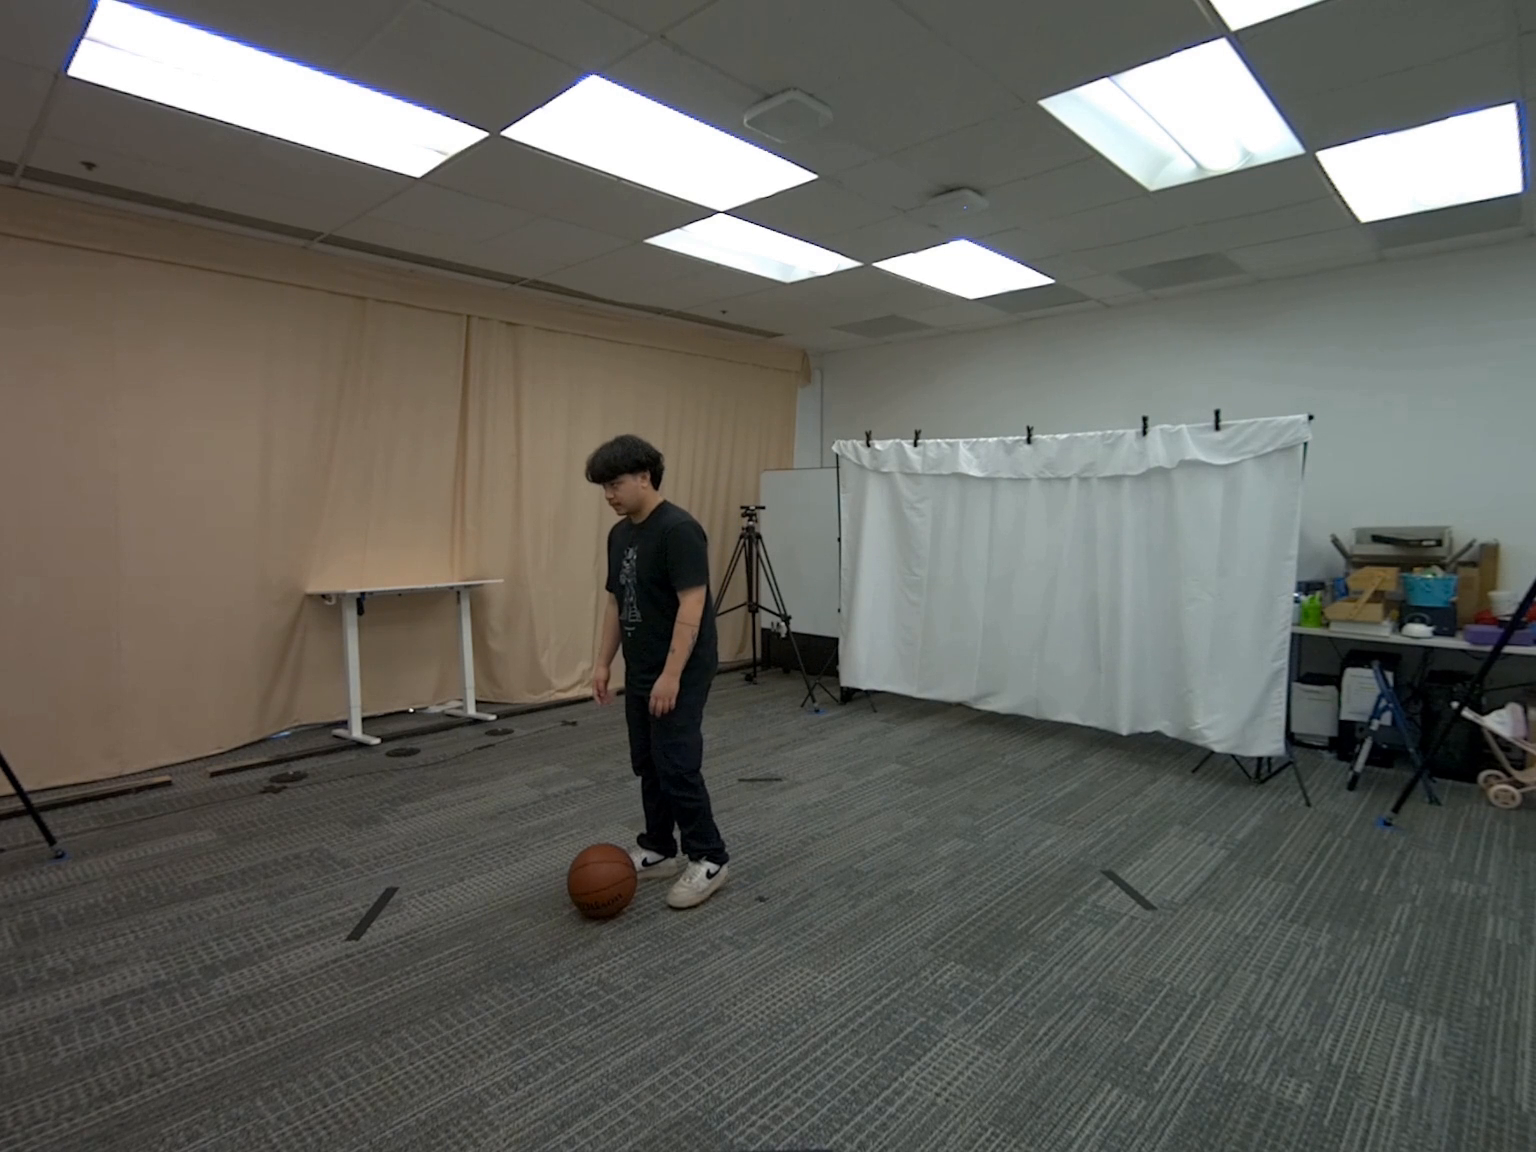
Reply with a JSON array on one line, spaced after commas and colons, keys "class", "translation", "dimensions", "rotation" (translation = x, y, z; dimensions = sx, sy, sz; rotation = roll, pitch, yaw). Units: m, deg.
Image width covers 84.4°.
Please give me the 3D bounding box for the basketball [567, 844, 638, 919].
[{"class": "basketball", "translation": [-0.569, 1.038, 2.868], "dimensions": [0.236, 0.235, 0.237], "rotation": [0, 4, -2]}]
